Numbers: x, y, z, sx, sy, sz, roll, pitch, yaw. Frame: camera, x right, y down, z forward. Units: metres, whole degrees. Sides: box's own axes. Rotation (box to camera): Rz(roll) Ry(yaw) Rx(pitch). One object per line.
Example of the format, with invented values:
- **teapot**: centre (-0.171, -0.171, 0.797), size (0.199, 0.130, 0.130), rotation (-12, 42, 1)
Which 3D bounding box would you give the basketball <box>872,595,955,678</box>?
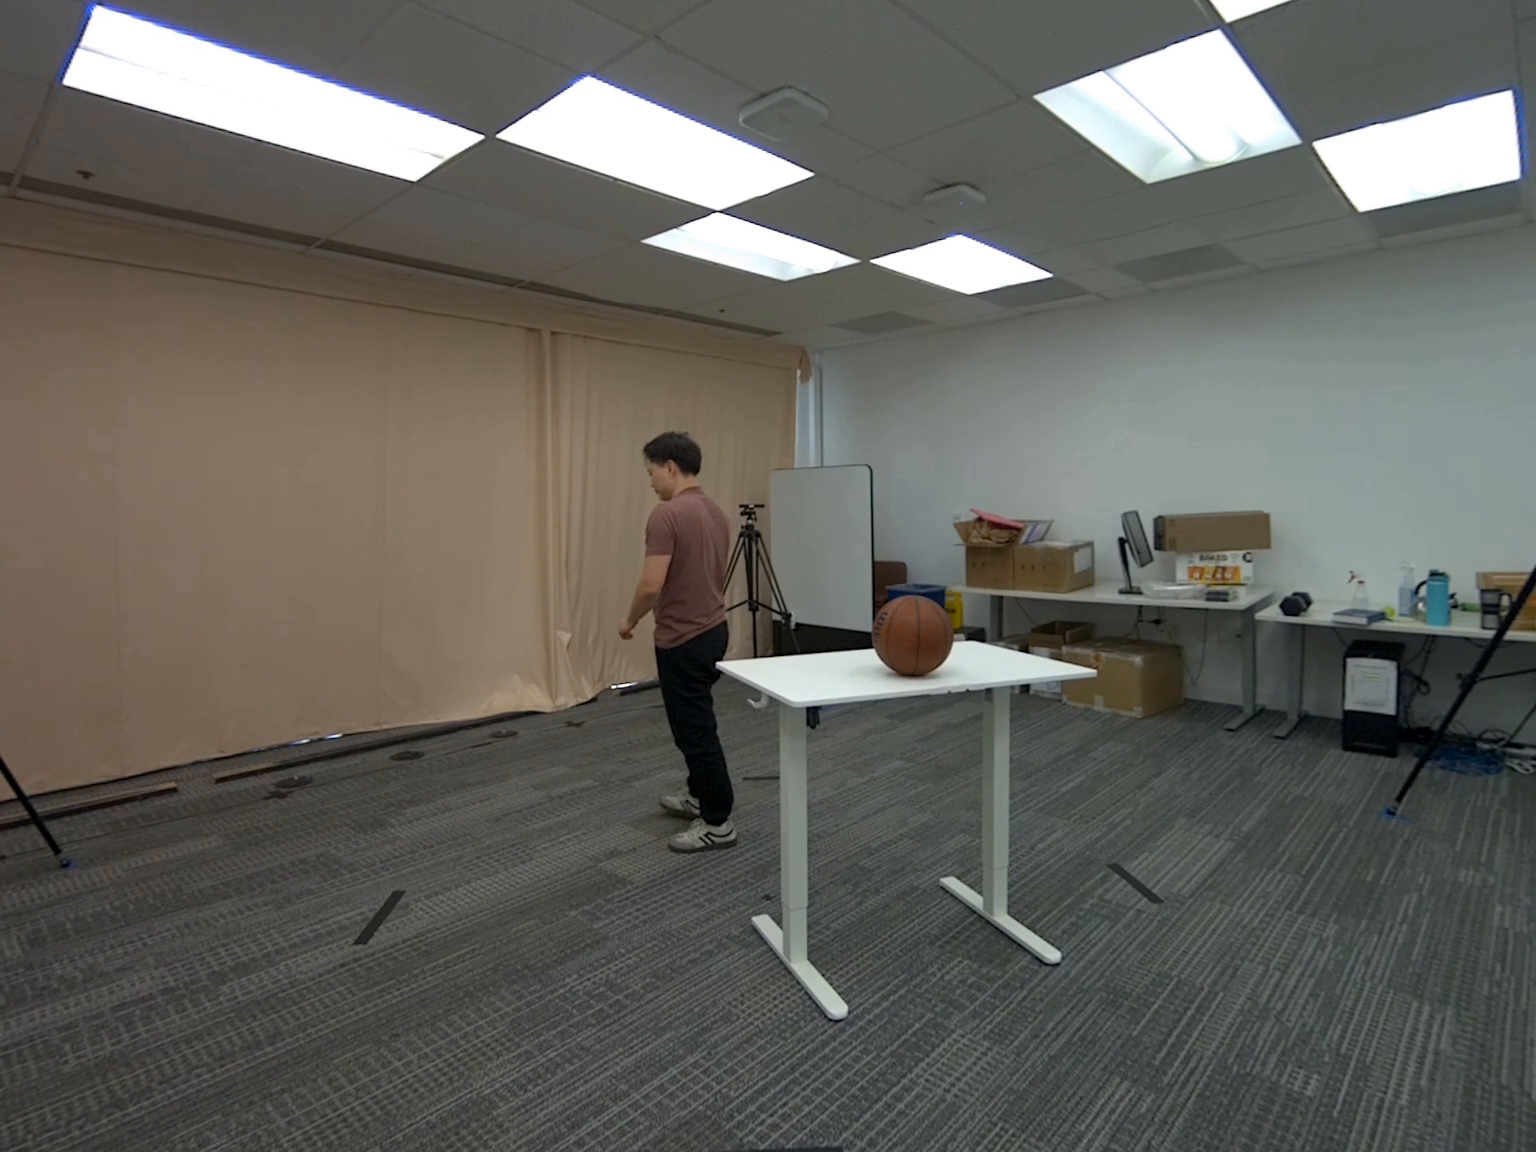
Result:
- **basketball**: centre (0.433, 0.175, 2.481), size (0.236, 0.235, 0.237), rotation (-1, 4, -2)
